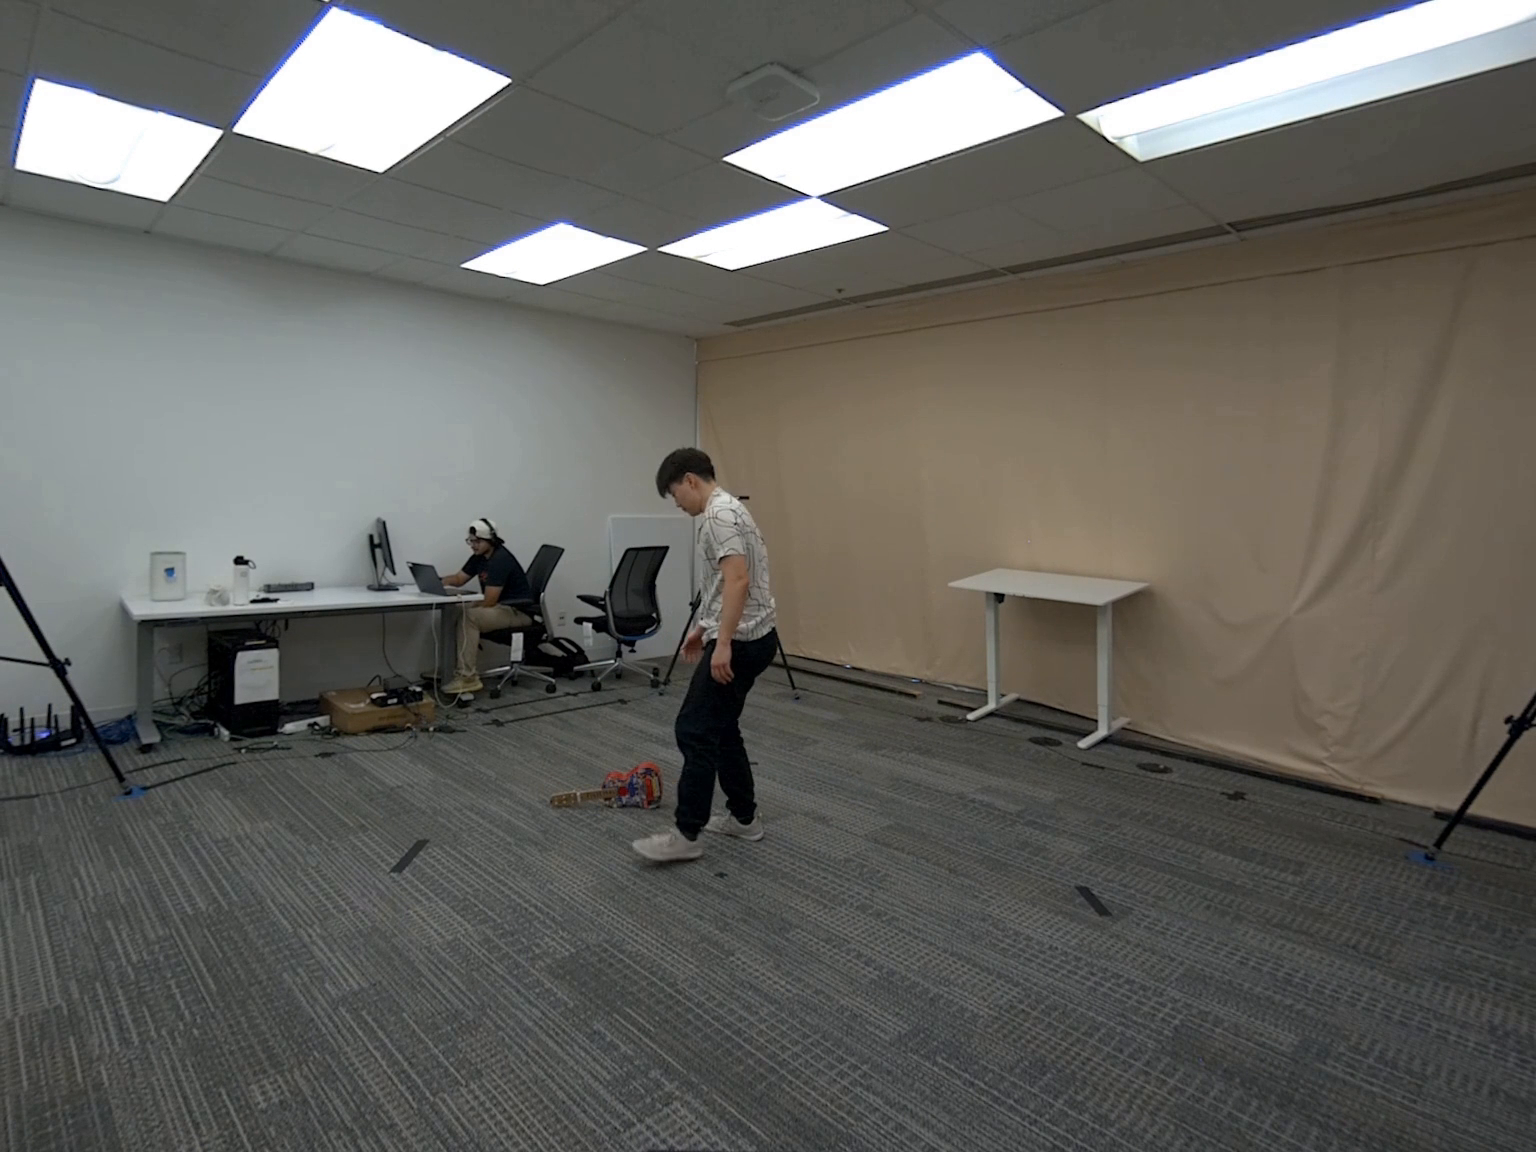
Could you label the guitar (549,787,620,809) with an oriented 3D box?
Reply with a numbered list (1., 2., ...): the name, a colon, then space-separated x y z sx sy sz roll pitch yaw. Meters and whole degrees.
1. guitar: -0.732 0.941 3.771 0.497 0.192 0.071 1 8 -1
